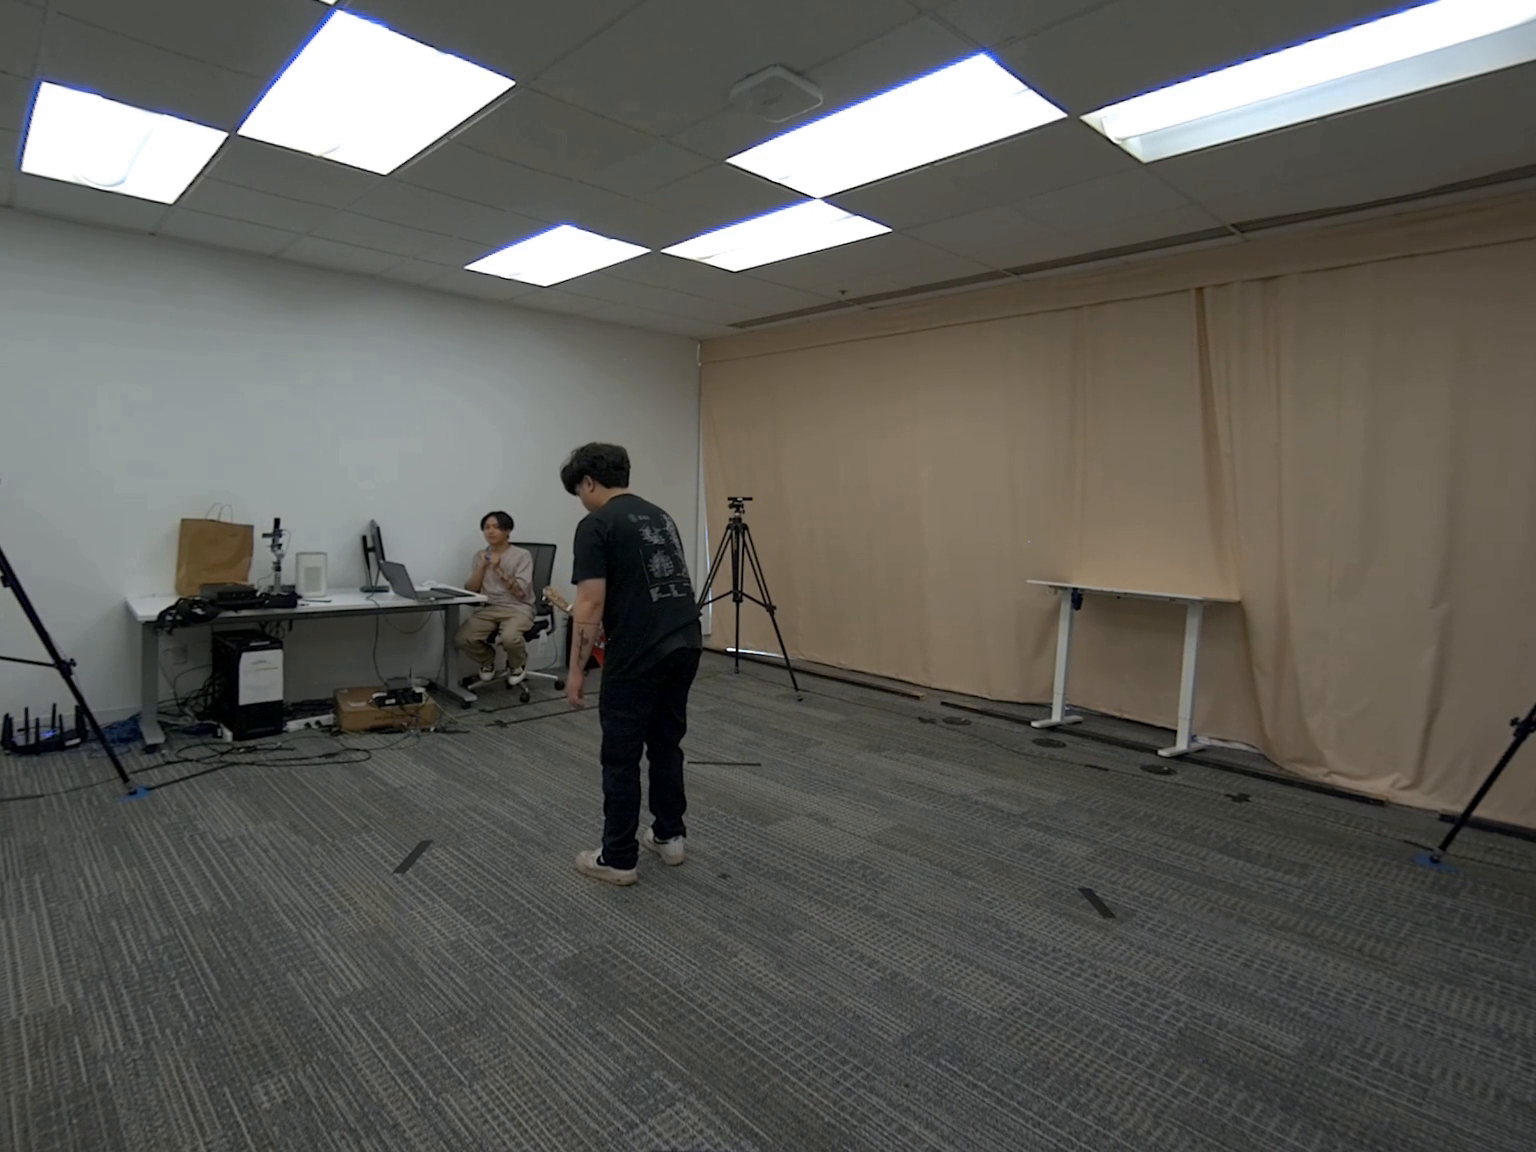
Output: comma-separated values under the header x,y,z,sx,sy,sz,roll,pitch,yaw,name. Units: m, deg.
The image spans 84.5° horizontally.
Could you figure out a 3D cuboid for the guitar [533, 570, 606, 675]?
x,y,z,sx,sy,sz,roll,pitch,yaw,name
-0.731,0.215,3.495,0.071,0.498,0.192,-42,0,31,guitar
